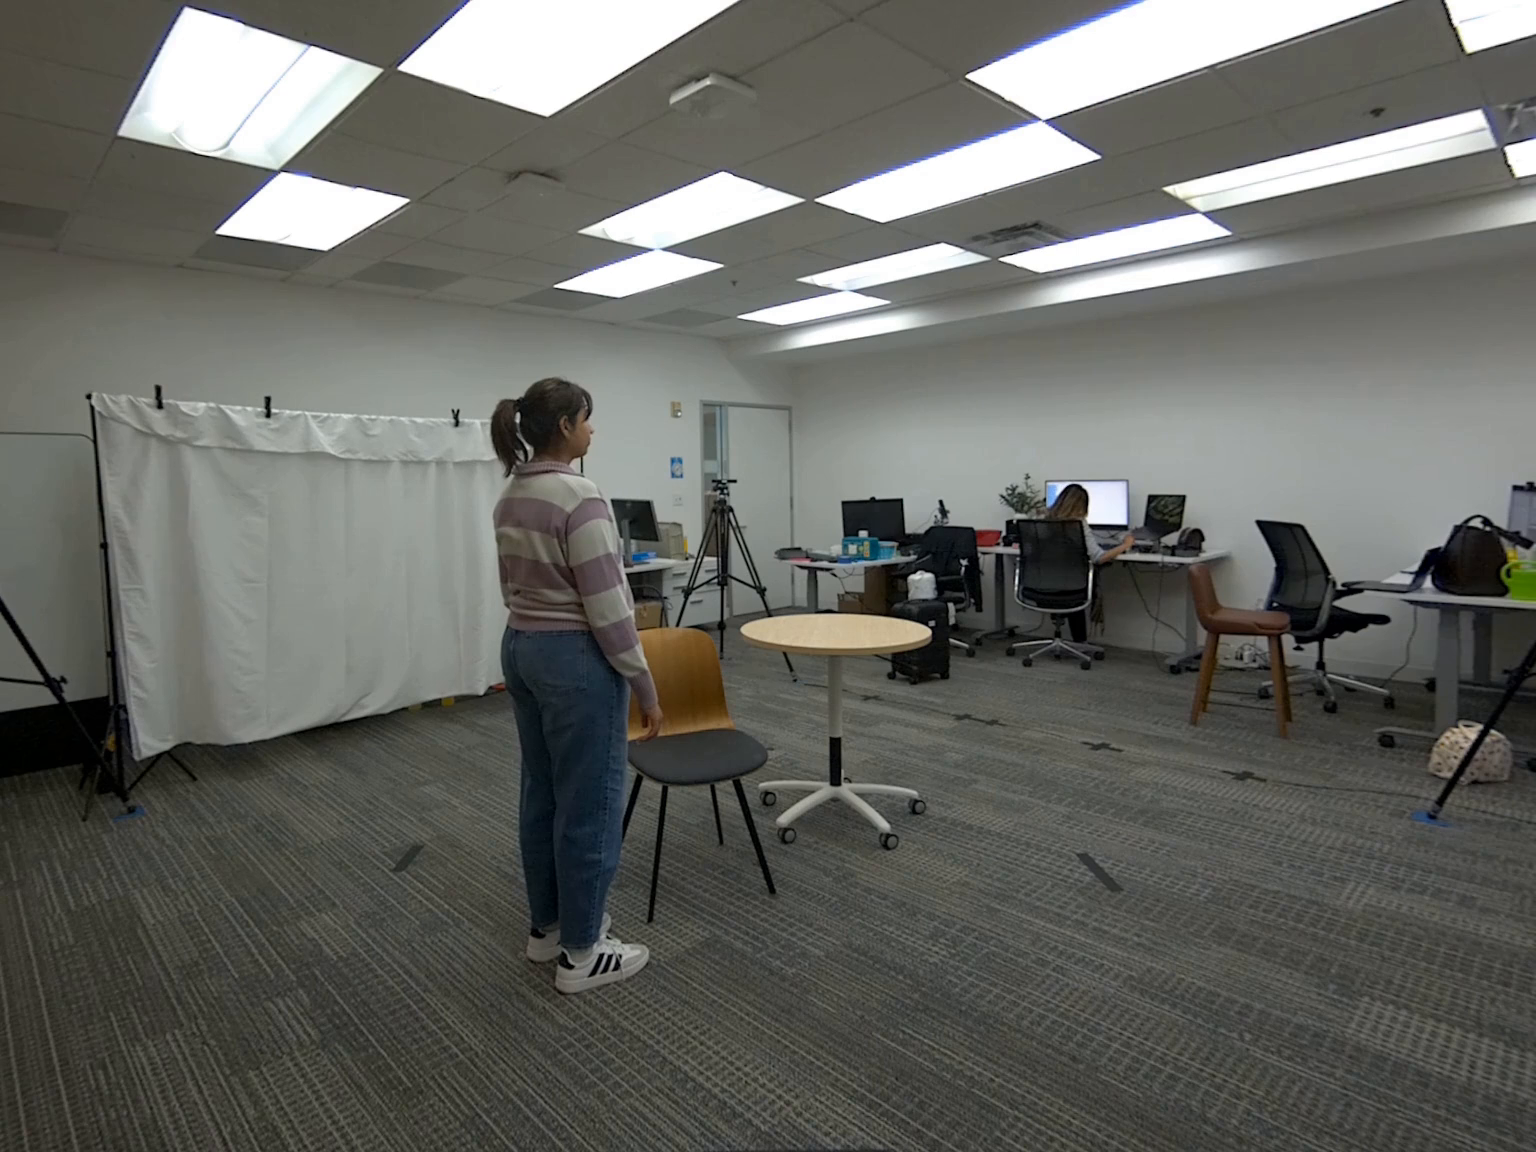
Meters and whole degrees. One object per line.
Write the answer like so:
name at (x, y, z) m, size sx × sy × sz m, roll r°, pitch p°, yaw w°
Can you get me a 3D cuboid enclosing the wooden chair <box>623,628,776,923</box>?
wooden chair at (-0.273, 0.642, 2.954) m, size 0.468 × 0.878 × 0.534 m, roll -3°, pitch 0°, yaw -25°
